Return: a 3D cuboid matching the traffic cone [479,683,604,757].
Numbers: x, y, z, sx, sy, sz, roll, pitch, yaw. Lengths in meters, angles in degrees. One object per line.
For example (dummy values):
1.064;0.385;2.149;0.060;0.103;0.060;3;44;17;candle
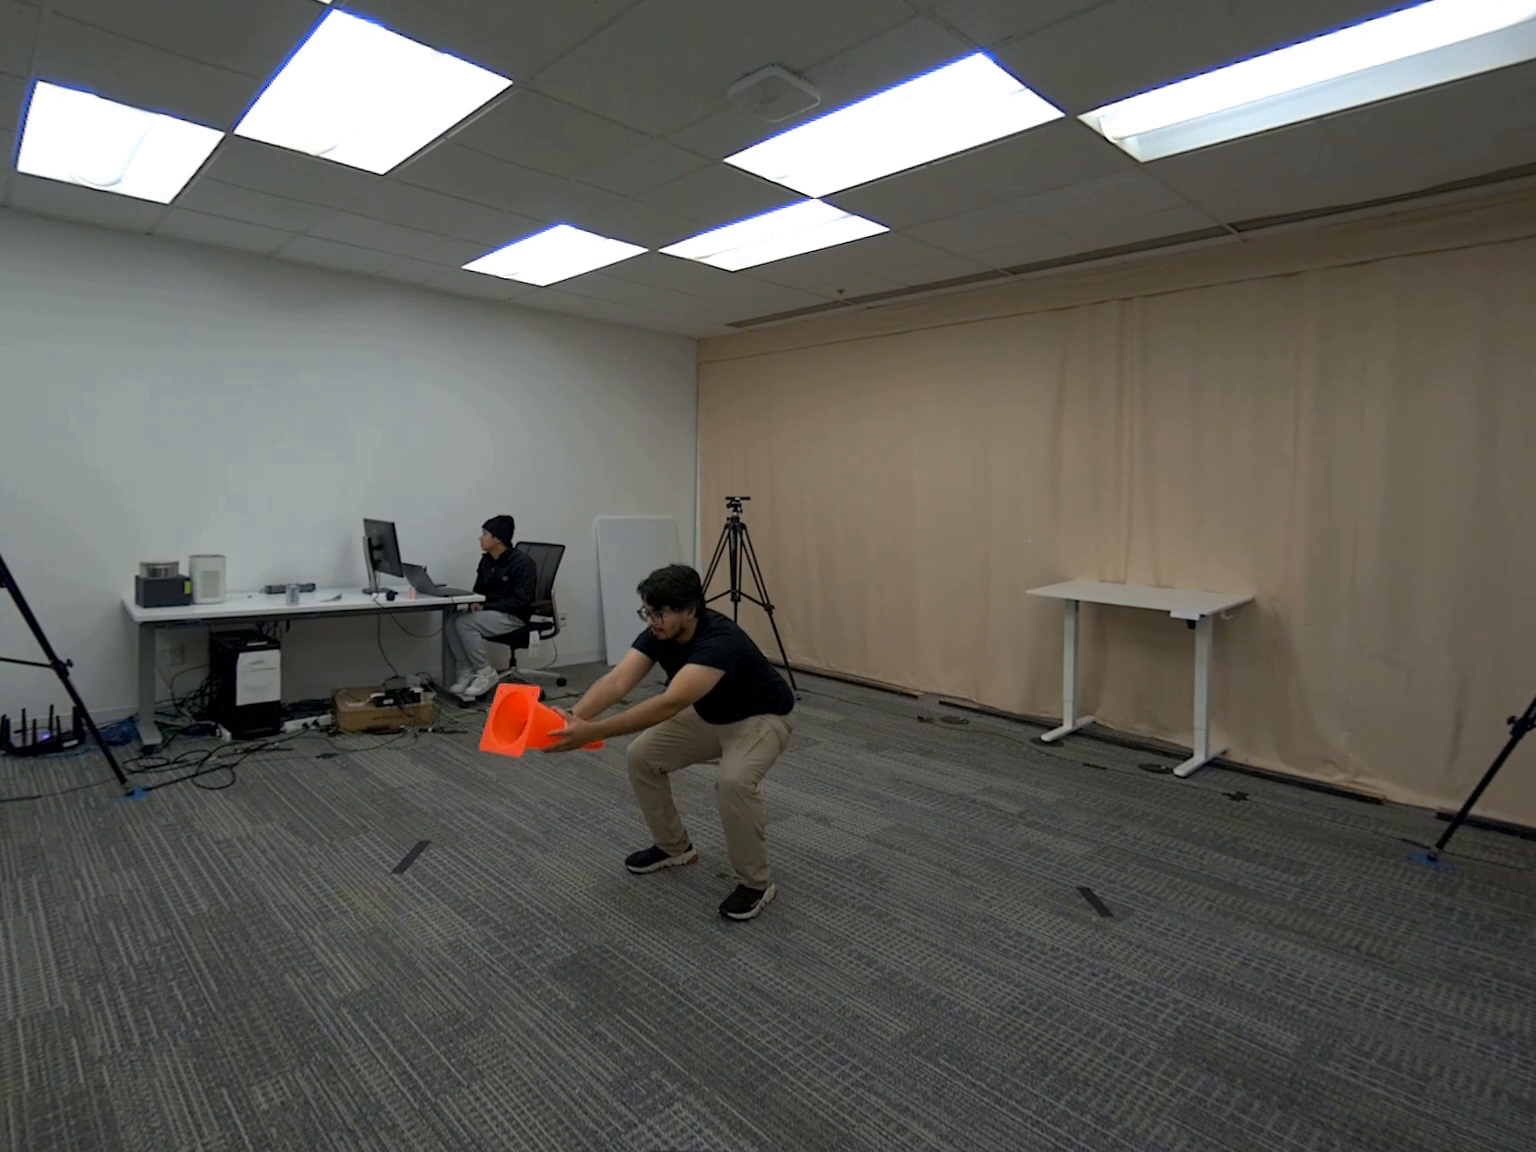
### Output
-0.644;0.467;2.538;0.209;0.205;0.372;-4;-21;37;traffic cone
